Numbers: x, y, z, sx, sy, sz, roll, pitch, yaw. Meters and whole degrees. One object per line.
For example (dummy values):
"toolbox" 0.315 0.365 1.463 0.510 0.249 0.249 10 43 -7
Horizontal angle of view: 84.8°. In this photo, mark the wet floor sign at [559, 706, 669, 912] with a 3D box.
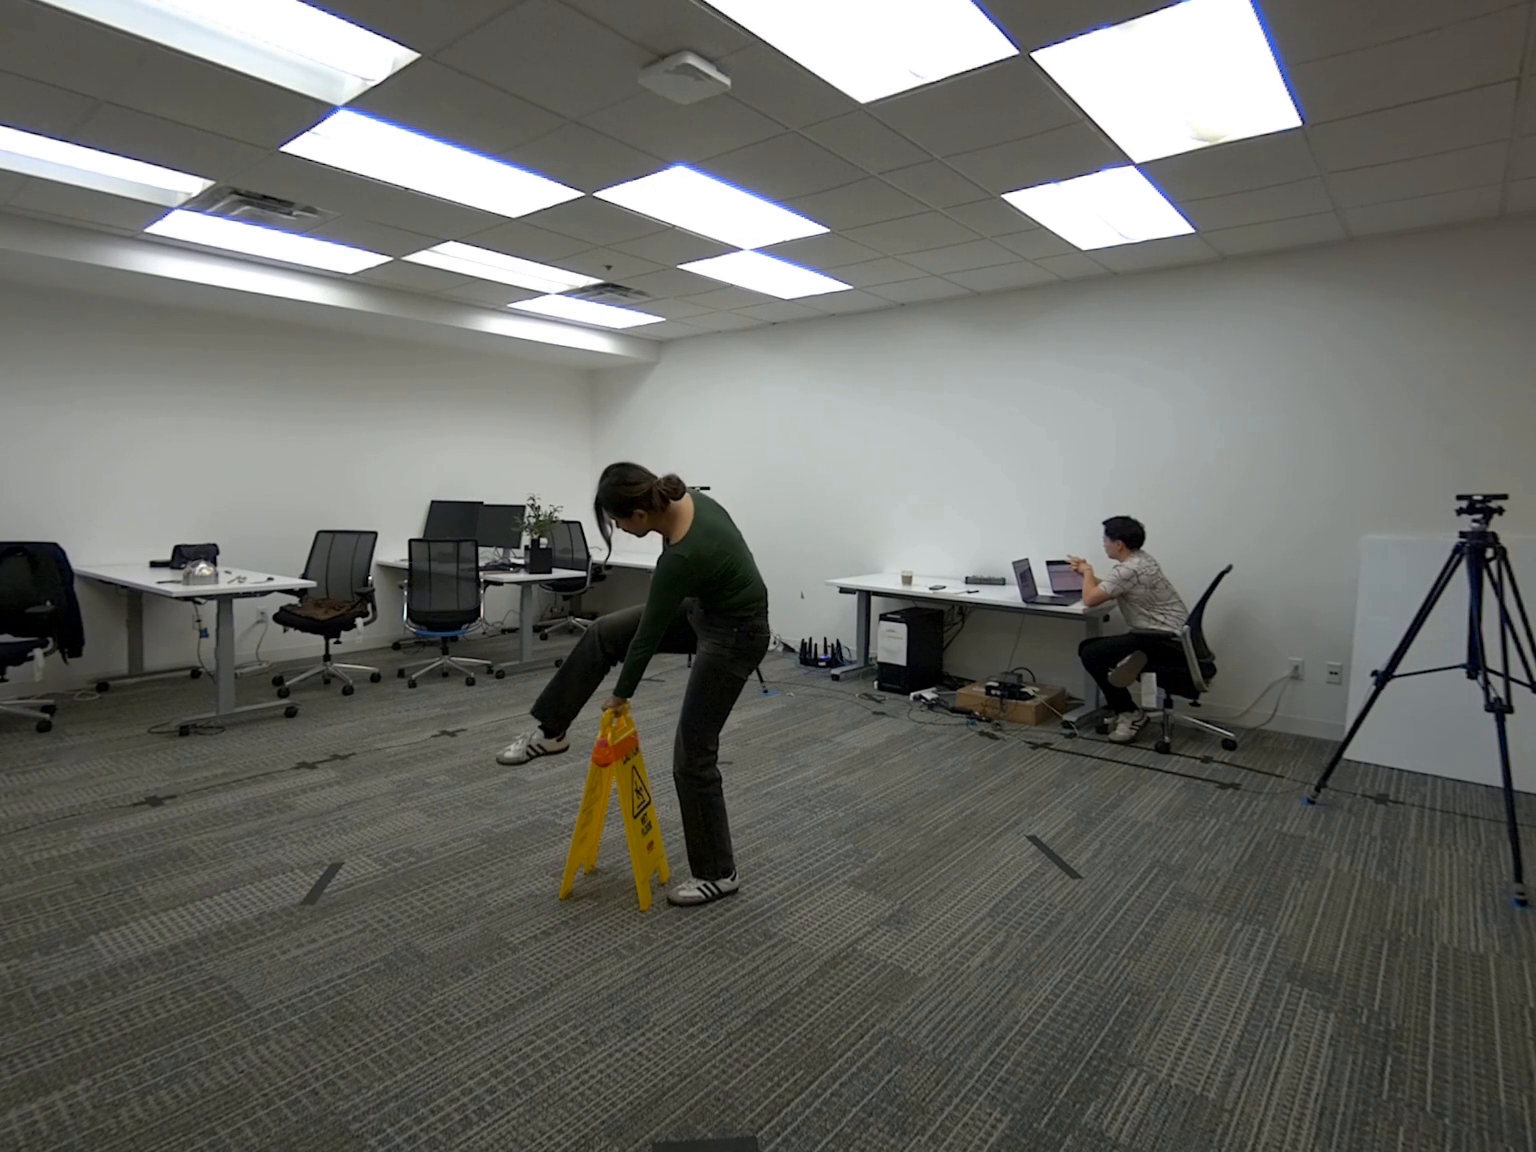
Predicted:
"wet floor sign" -0.529 0.756 2.926 0.294 0.644 0.279 2 4 14
